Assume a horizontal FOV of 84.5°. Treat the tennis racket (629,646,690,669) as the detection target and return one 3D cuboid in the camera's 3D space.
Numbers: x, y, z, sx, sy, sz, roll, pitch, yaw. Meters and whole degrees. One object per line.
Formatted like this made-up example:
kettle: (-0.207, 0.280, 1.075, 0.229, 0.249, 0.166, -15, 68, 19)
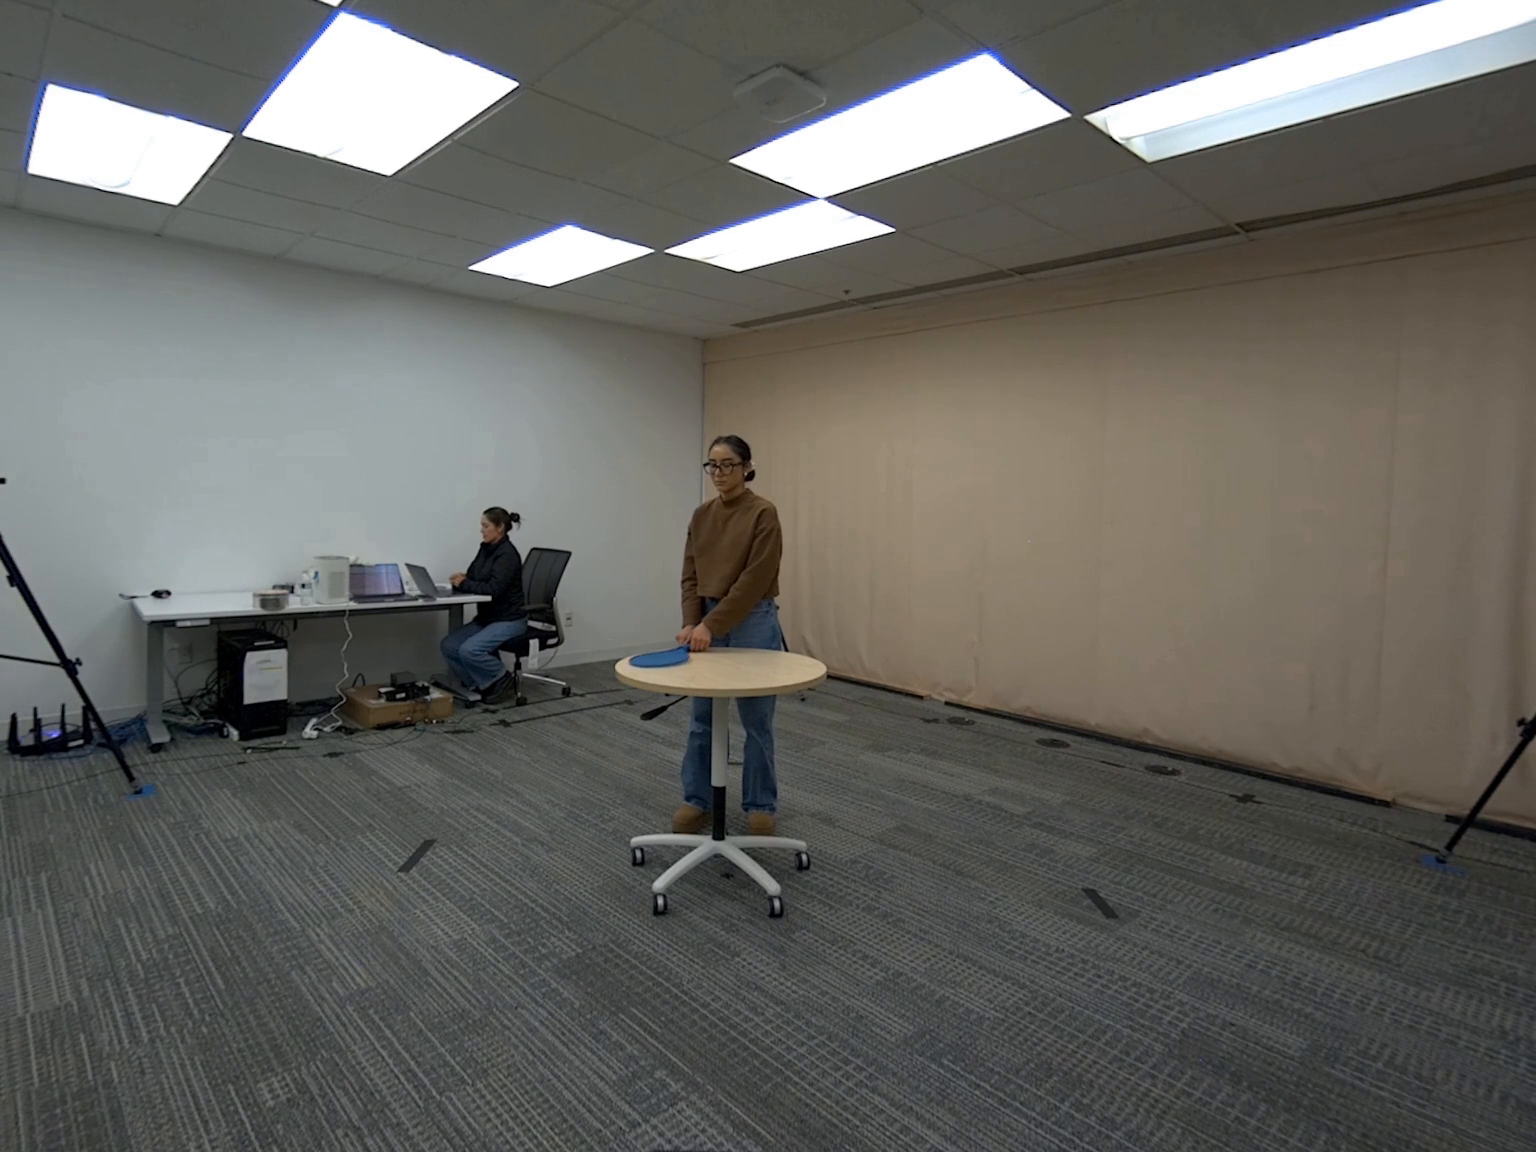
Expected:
tennis racket: (-0.396, 0.305, 3.204, 0.218, 0.031, 0.426, 2, 6, 25)
